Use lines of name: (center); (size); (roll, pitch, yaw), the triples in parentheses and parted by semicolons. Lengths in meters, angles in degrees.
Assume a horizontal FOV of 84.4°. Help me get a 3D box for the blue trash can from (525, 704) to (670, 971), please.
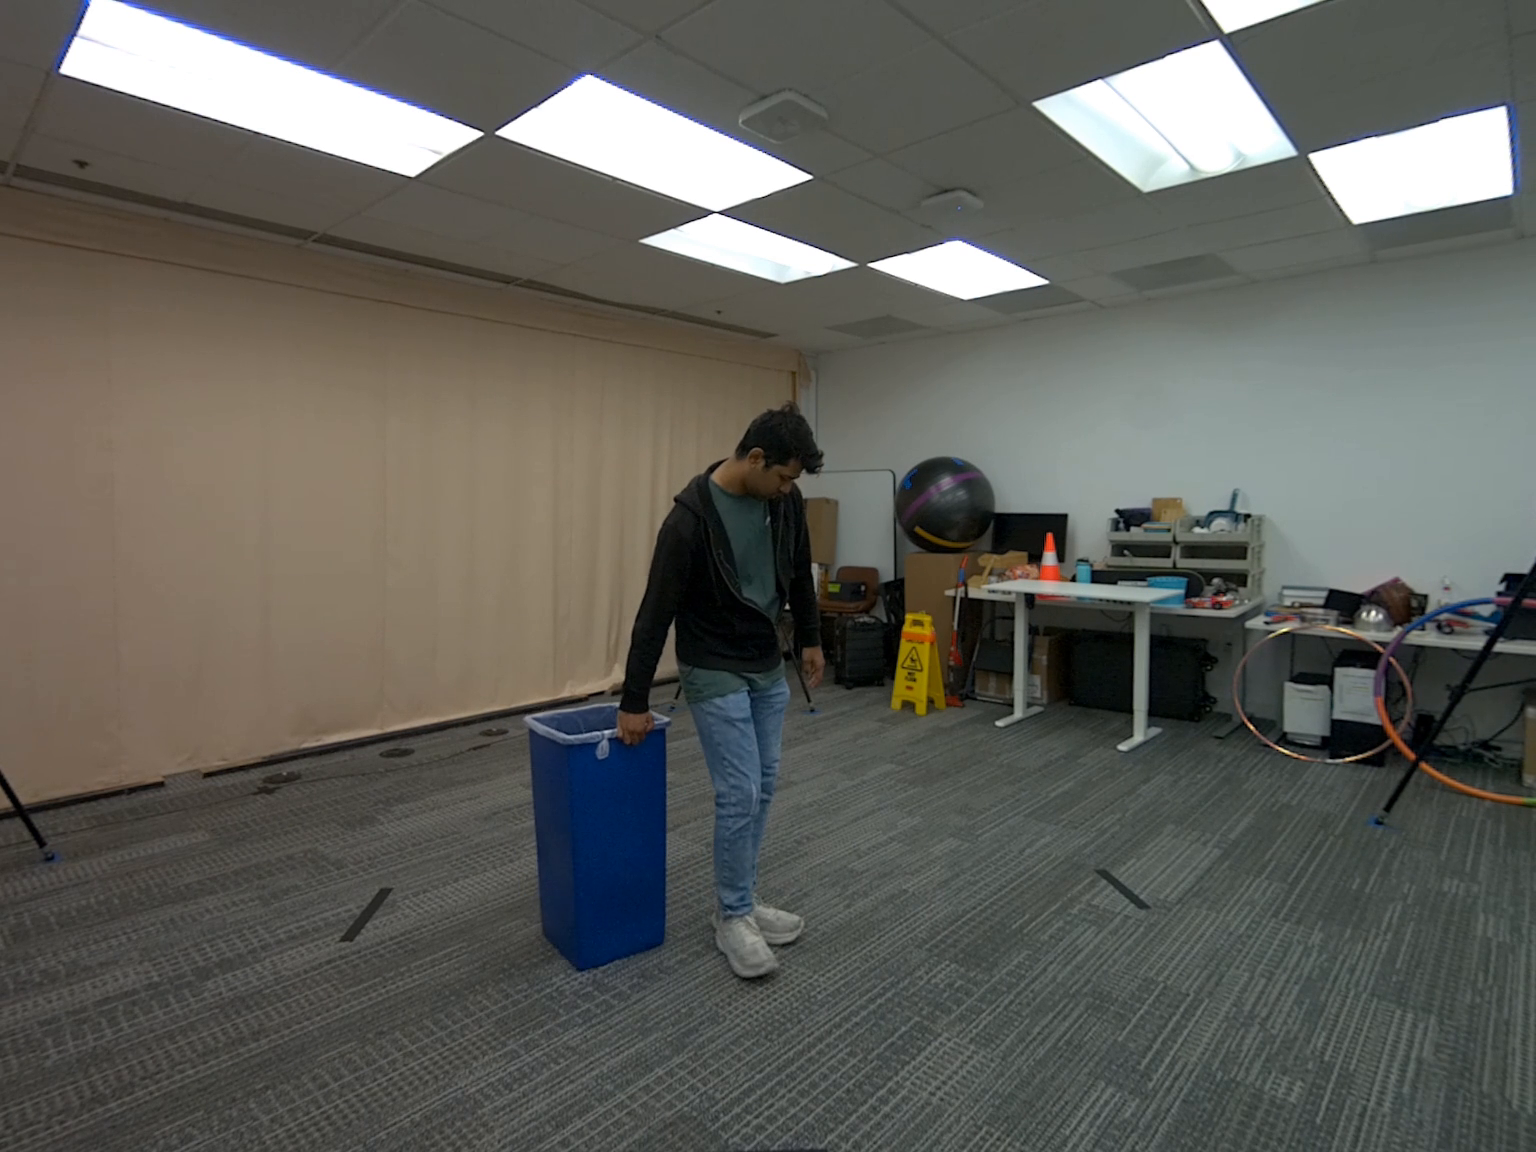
blue trash can: (-0.539, 0.812, 2.716); (0.363, 0.712, 0.390); (-4, 3, -36)
